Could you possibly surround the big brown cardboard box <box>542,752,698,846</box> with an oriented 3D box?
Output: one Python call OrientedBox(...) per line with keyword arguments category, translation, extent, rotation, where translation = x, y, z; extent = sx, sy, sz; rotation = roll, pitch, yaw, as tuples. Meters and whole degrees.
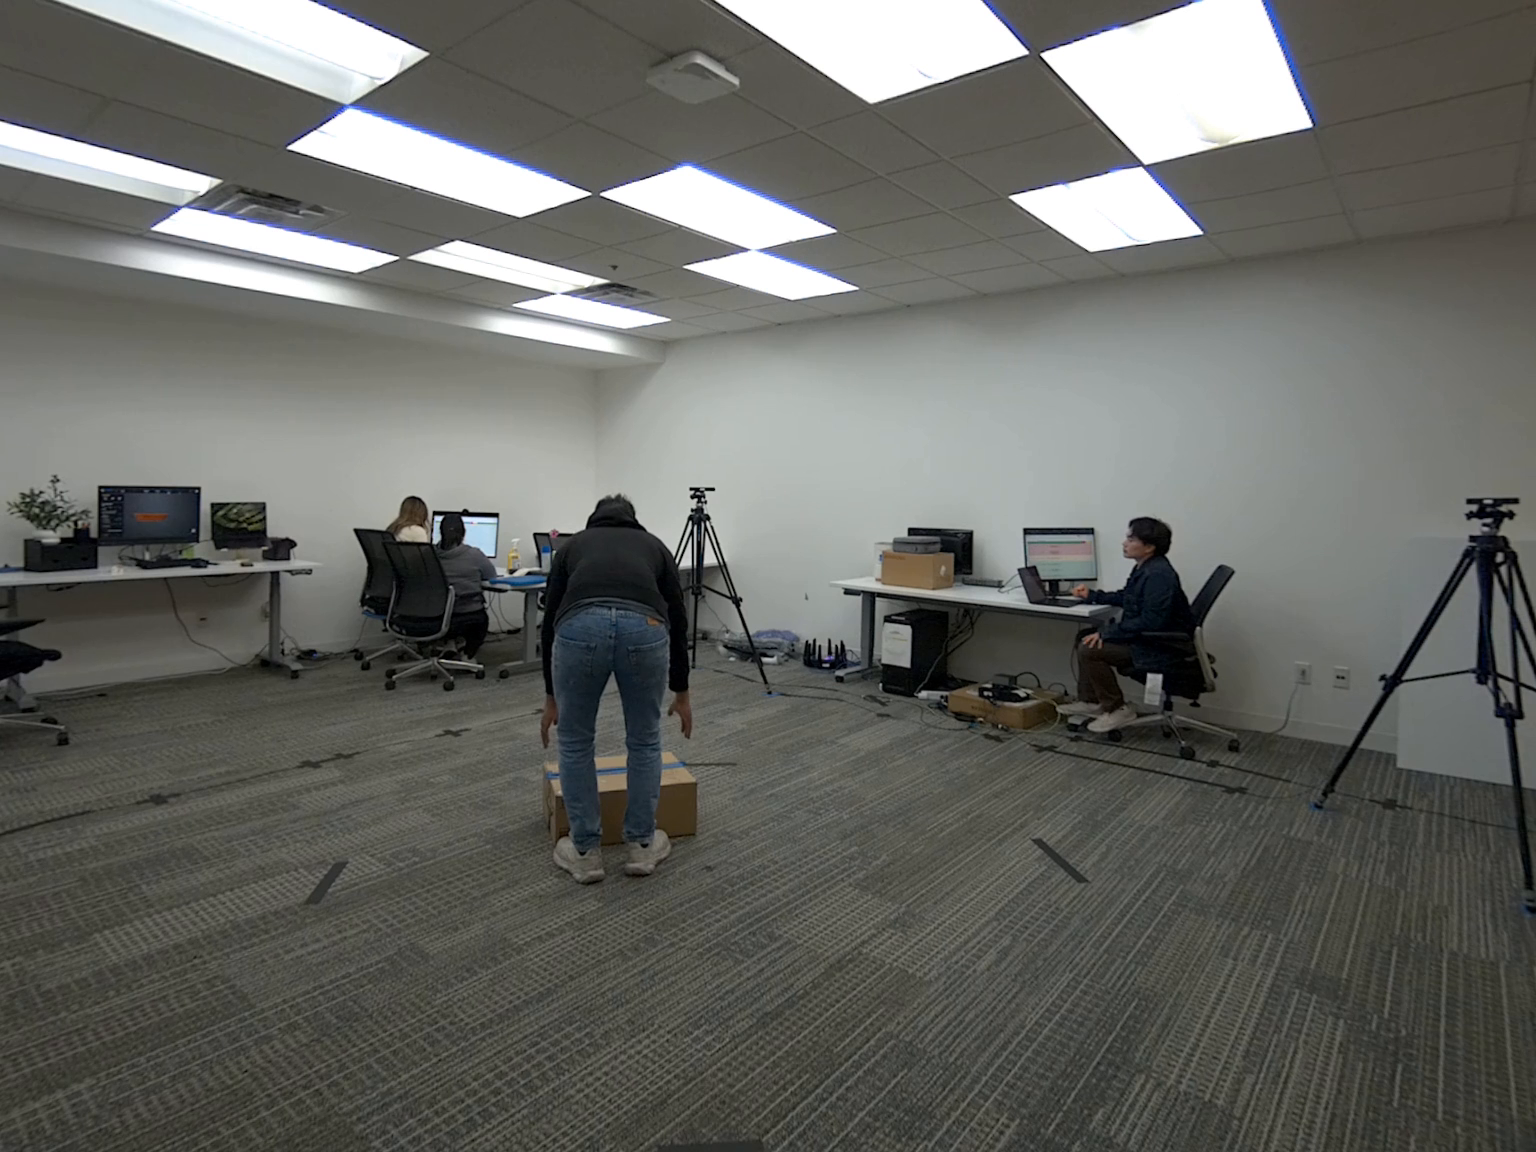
OrientedBox(category="big brown cardboard box", translation=(-0.636, 0.908, 3.506), extent=(0.577, 0.232, 0.428), rotation=(0, 5, -21))
